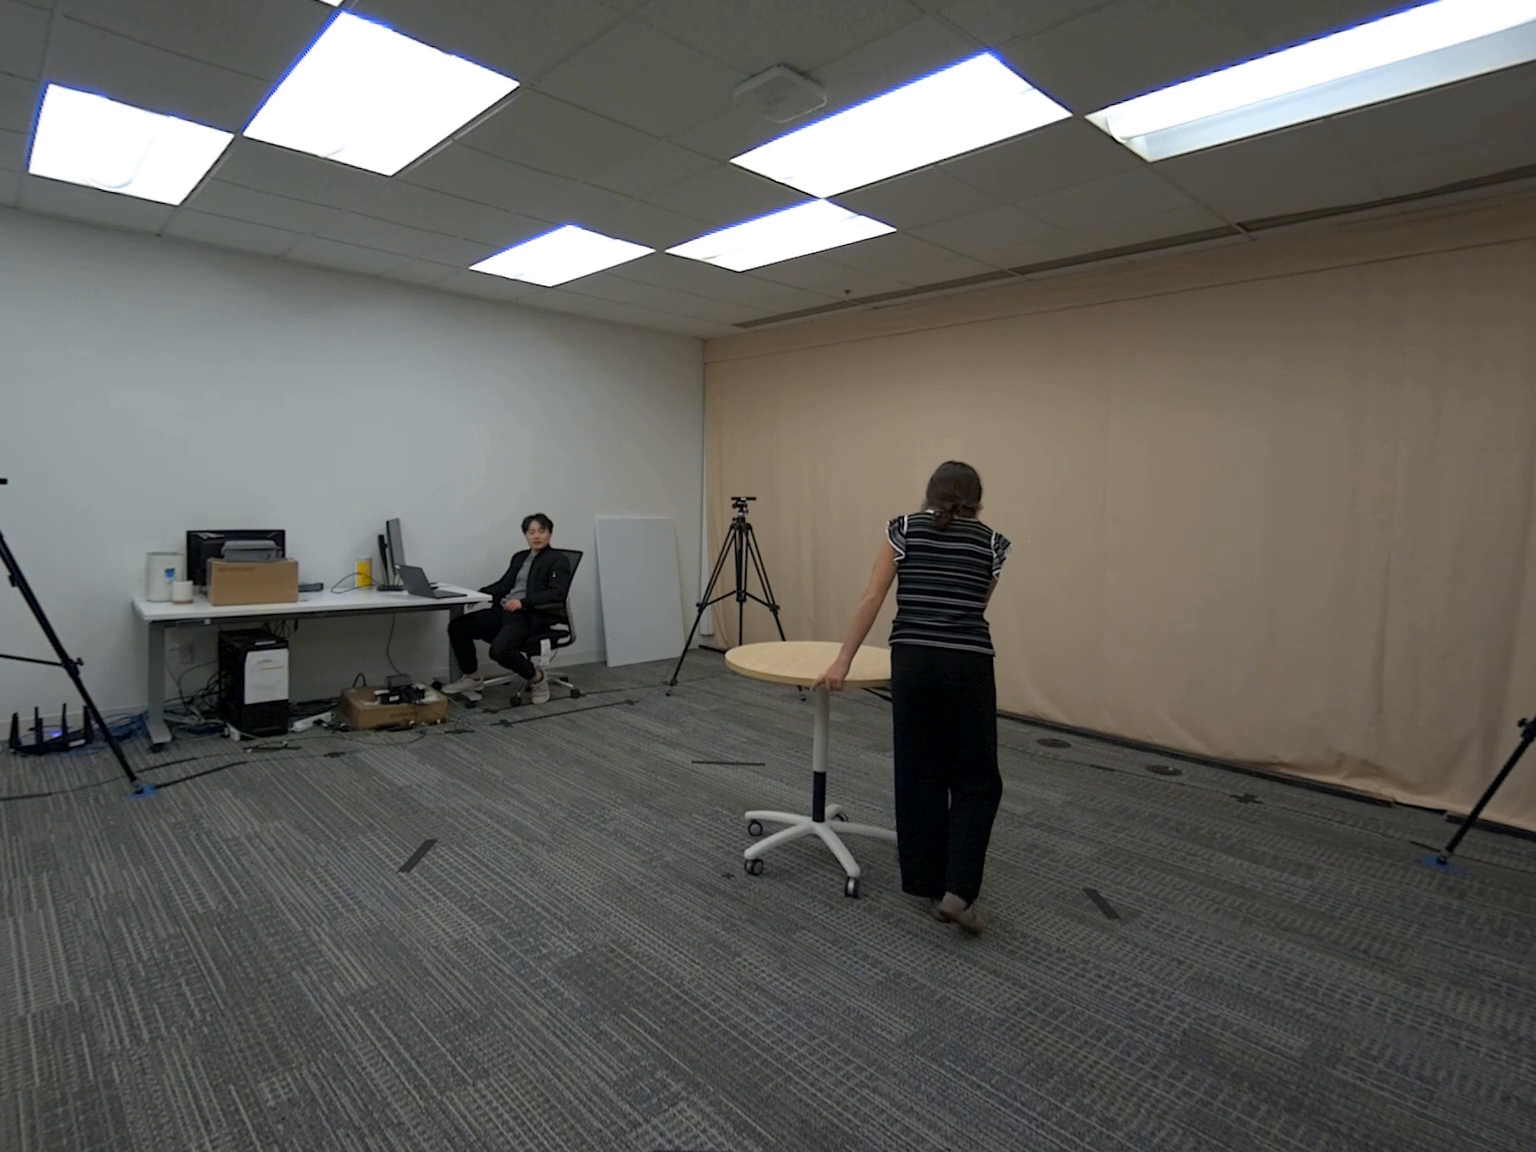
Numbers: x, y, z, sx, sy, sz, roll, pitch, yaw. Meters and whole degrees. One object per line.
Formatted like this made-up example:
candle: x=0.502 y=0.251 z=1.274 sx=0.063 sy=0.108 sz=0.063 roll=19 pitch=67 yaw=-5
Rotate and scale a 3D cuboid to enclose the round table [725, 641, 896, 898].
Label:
round table: x=0.194 y=0.711 z=3.282 sx=0.763 sy=0.792 sz=0.766 roll=2 pitch=4 yaw=-1
